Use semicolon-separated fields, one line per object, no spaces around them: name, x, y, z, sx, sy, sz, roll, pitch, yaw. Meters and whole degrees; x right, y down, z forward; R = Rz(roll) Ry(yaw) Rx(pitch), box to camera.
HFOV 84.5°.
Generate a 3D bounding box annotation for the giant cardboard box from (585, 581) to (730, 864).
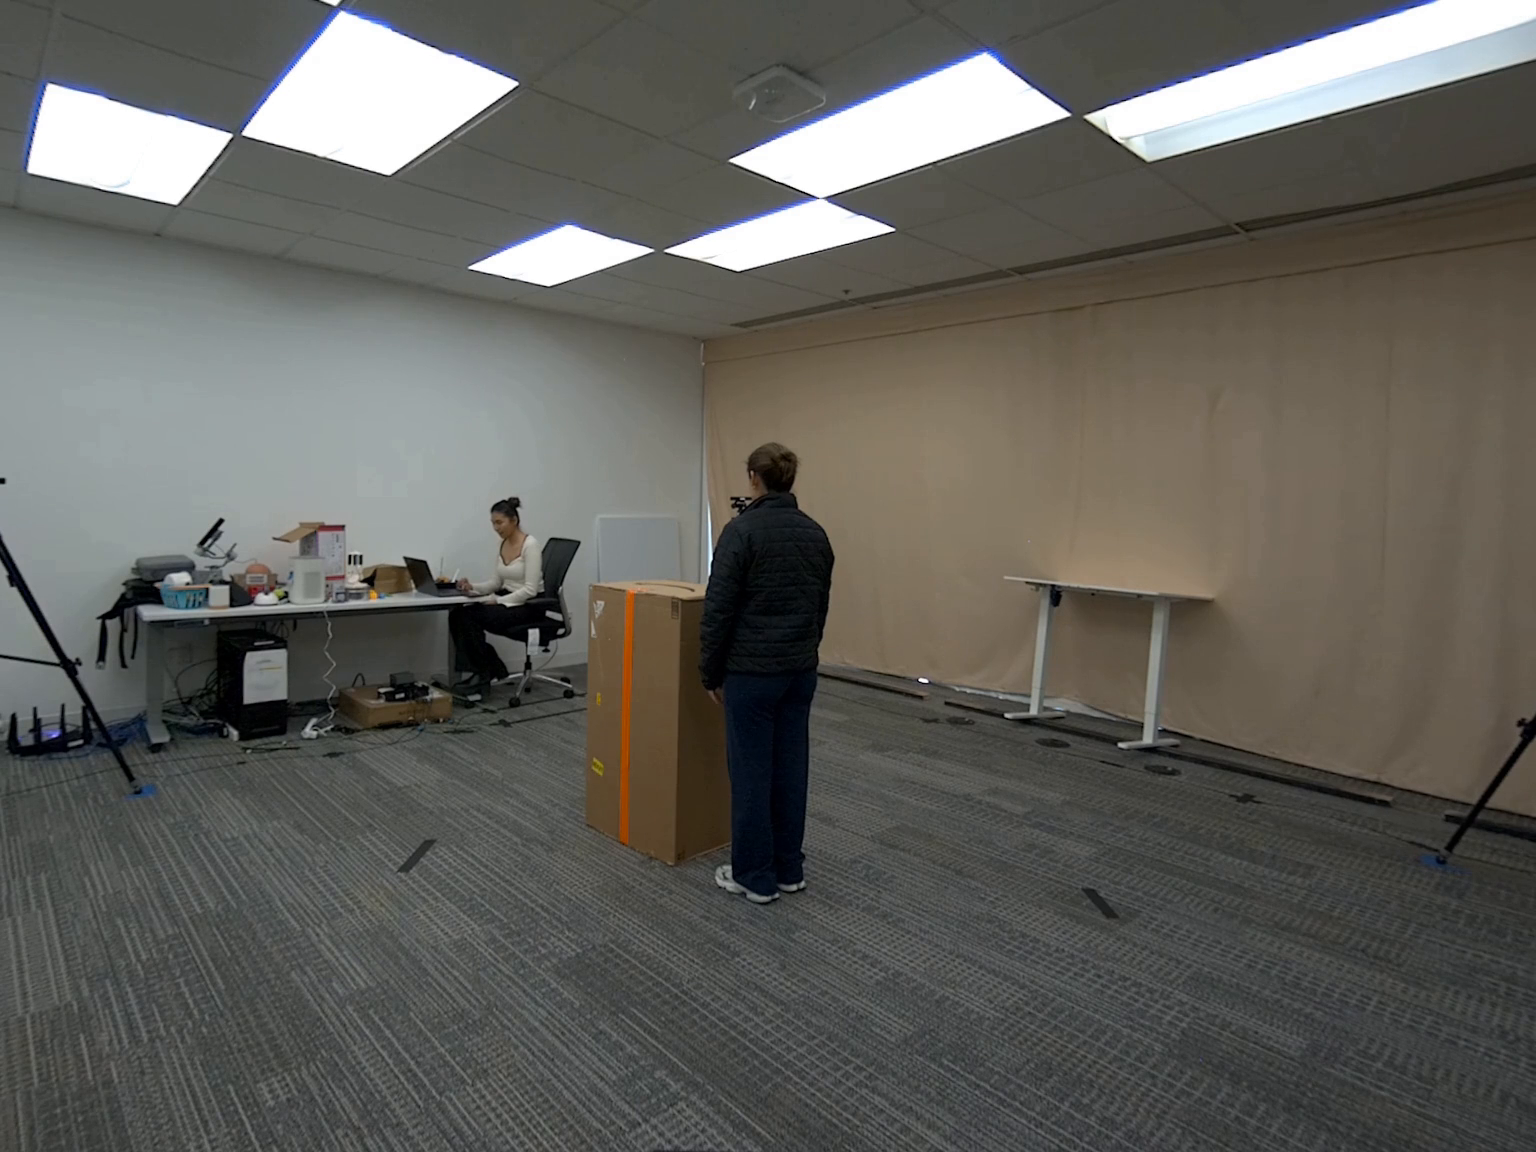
giant cardboard box;-0.417;0.560;3.477;0.592;1.023;0.416;5;4;44
